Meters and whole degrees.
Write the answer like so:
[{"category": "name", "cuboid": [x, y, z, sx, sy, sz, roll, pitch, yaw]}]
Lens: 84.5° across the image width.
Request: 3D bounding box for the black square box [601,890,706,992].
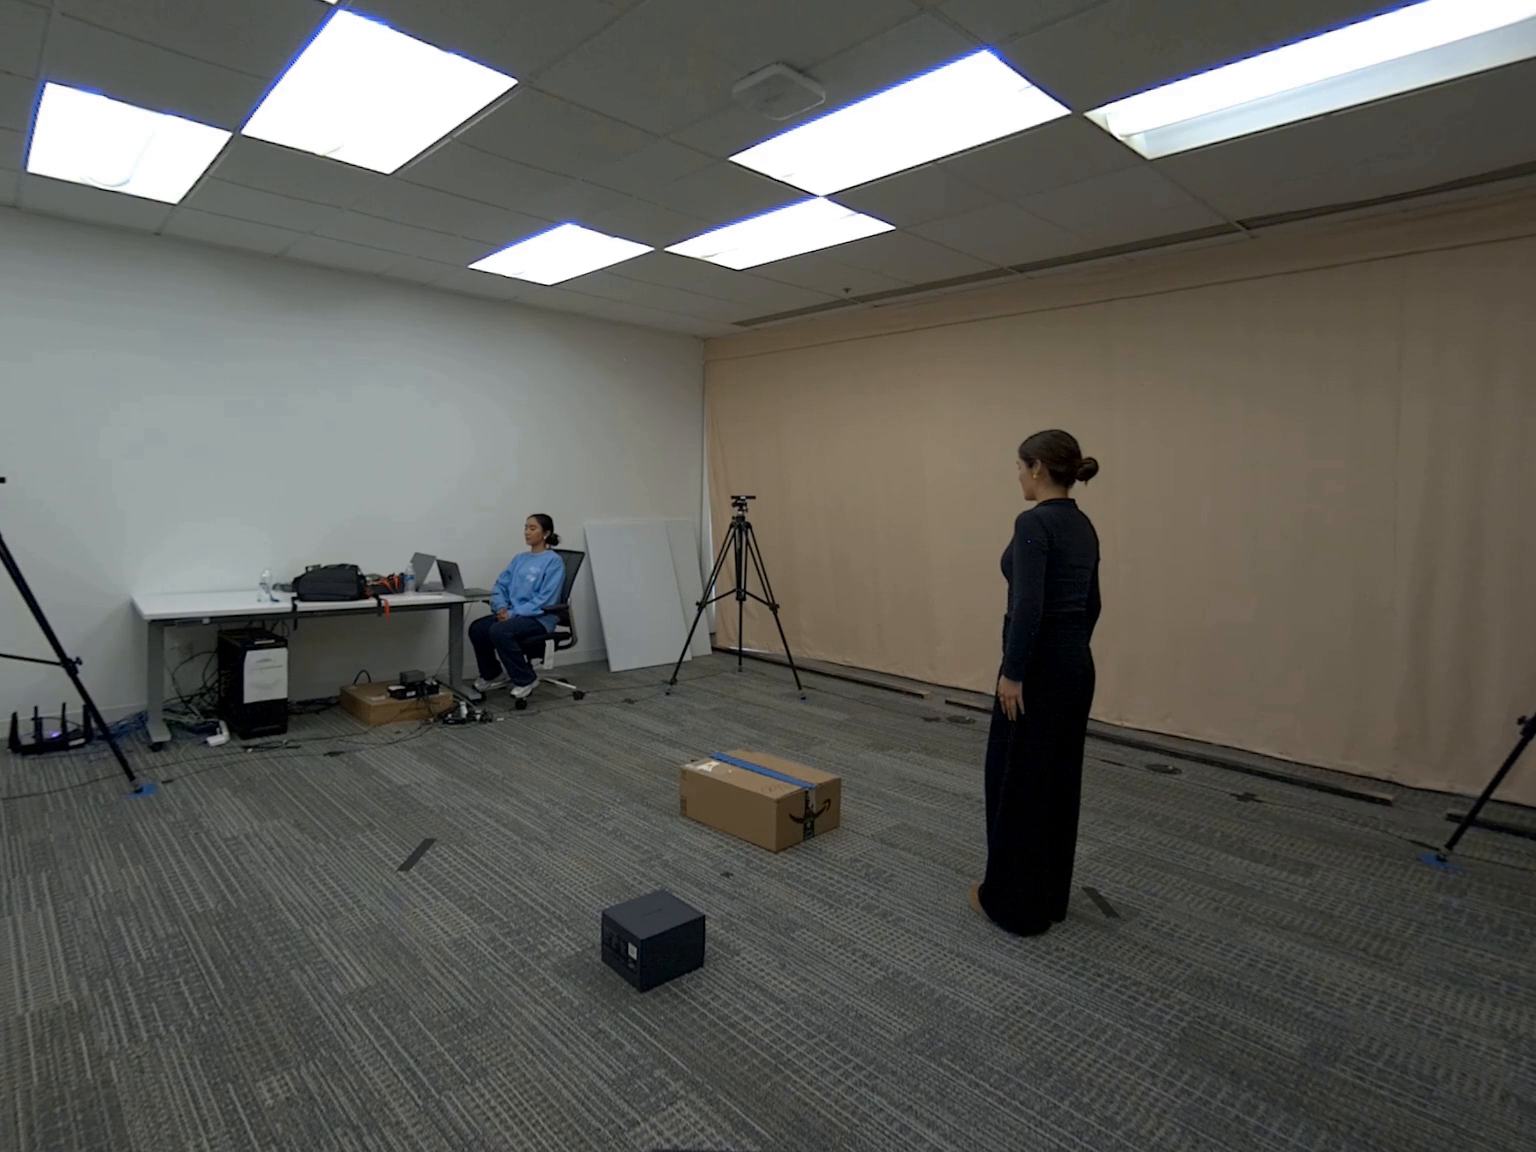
[{"category": "black square box", "cuboid": [-0.346, 1.071, 2.491, 0.223, 0.155, 0.222, -3, 6, -42]}]
